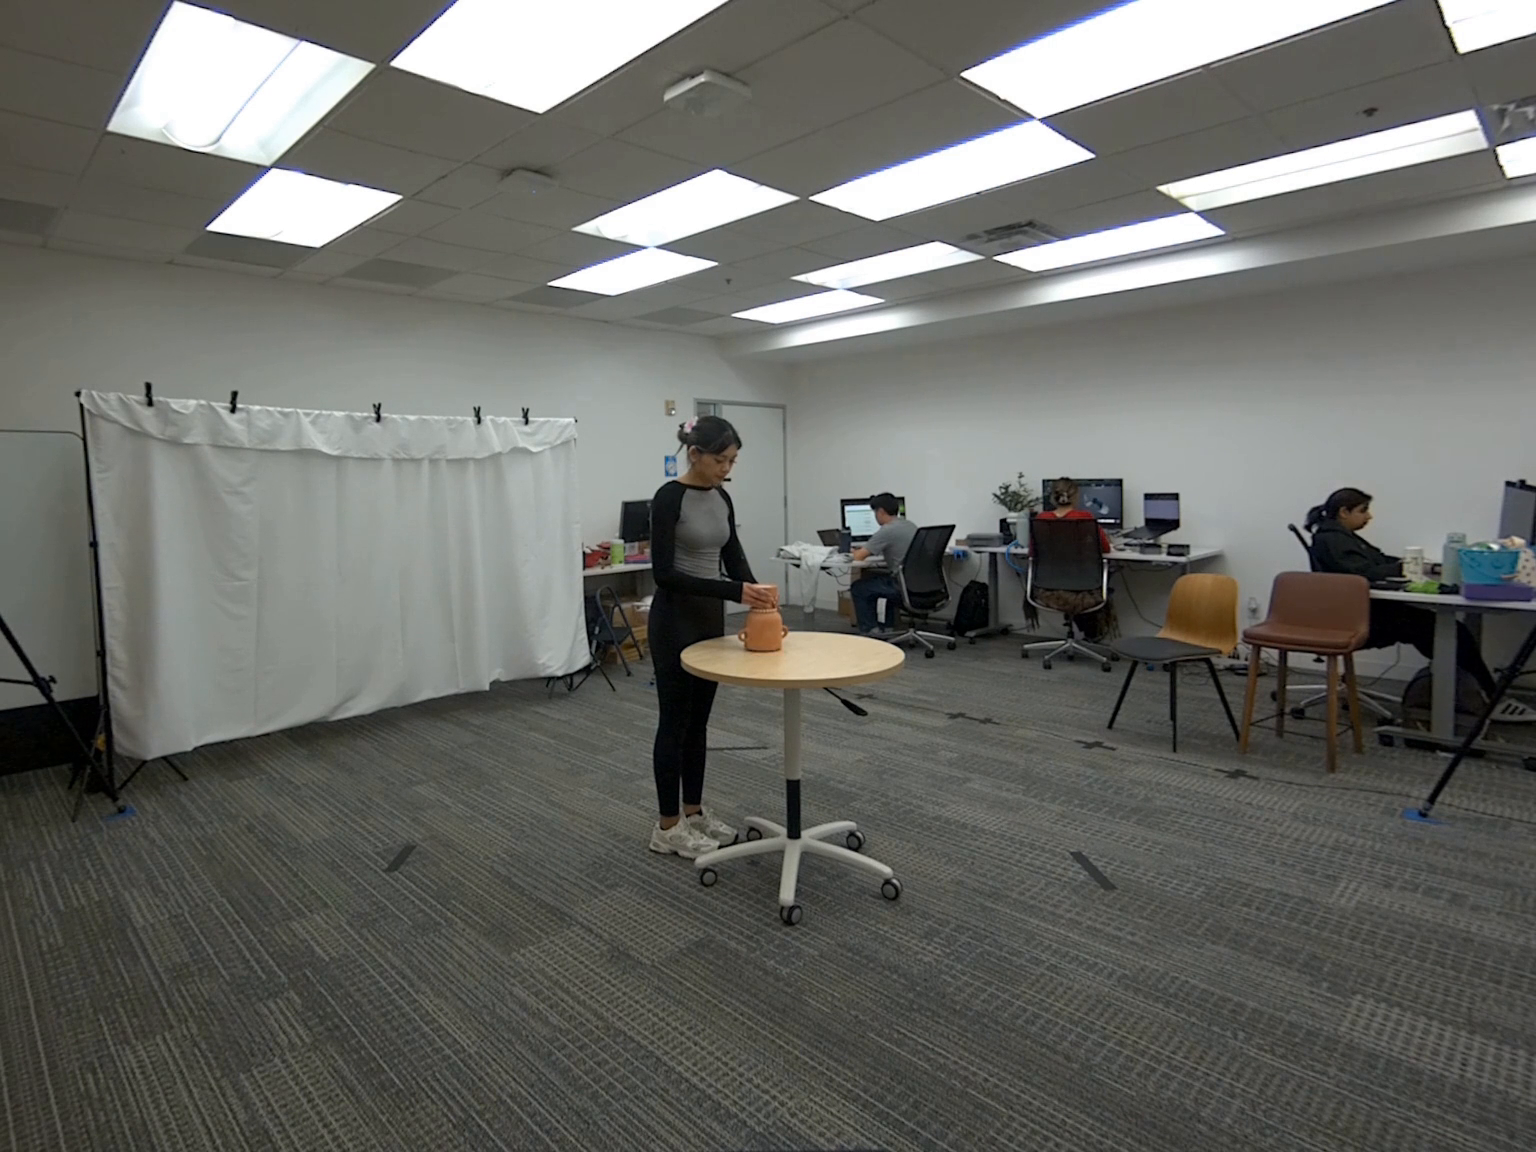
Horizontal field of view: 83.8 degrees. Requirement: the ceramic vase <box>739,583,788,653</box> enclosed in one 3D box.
[{"bbox_3d":[-0.018,0.141,3.016,0.138,0.220,0.155,-1,-1,26],"label":"ceramic vase"}]
